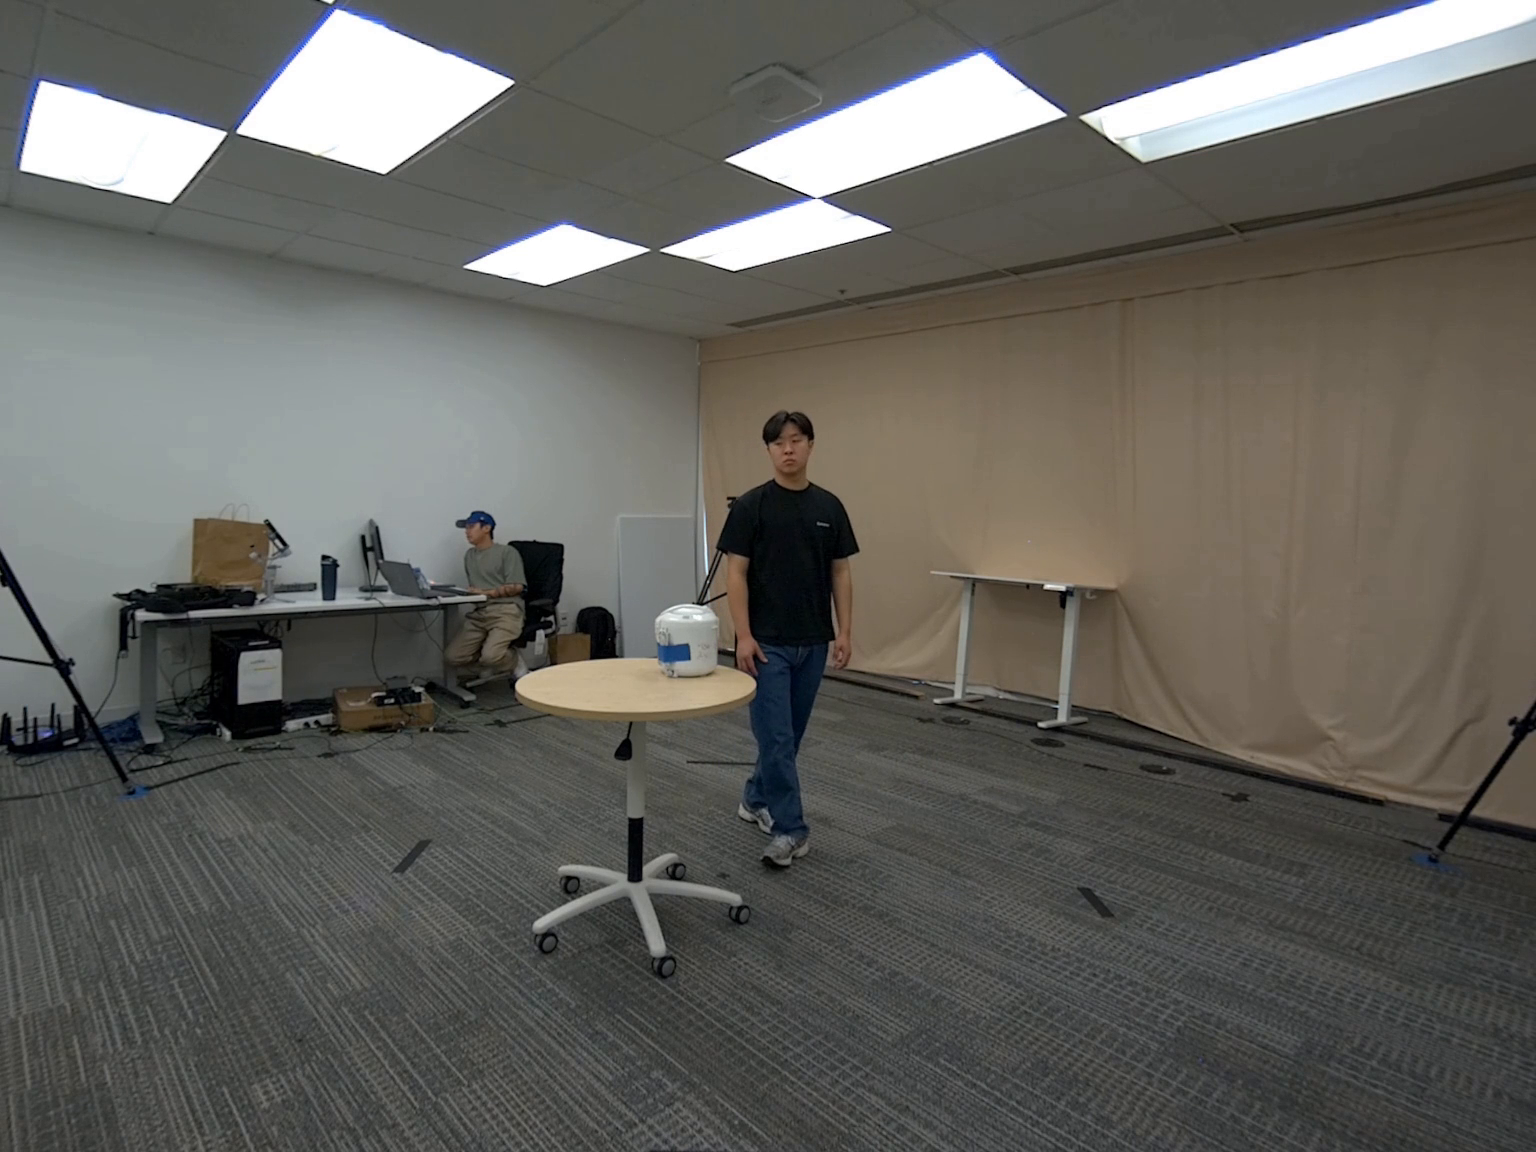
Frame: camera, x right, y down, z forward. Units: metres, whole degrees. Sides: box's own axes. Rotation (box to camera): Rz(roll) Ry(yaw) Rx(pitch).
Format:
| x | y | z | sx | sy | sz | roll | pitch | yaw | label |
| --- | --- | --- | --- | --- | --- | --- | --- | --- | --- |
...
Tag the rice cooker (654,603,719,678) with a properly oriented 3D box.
| x | y | z | sx | sy | sz | roll | pitch | yaw | label |
| --- | --- | --- | --- | --- | --- | --- | --- | --- | --- |
| -0.282 | 0.214 | 2.858 | 0.219 | 0.232 | 0.220 | 1 | 4 | -11 | rice cooker |
